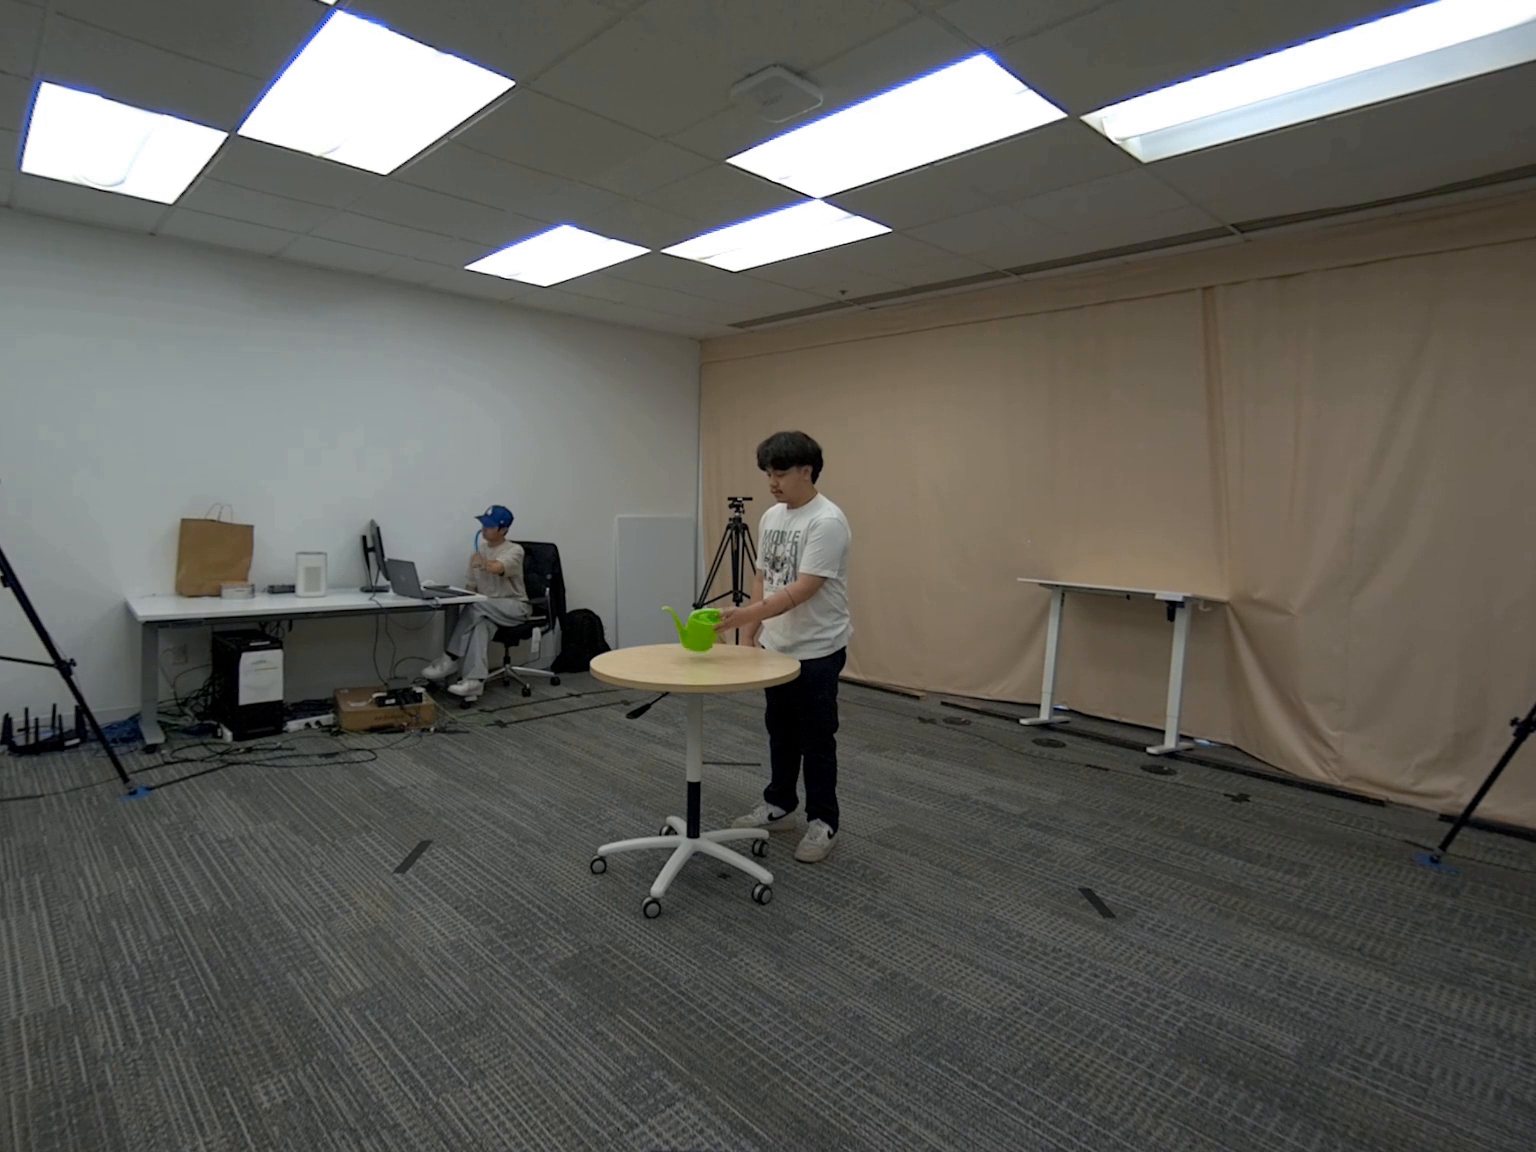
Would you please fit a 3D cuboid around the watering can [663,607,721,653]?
[{"bbox_3d":[-0.290,0.185,3.079,0.273,0.175,0.100,14,32,-19],"label":"watering can"}]
